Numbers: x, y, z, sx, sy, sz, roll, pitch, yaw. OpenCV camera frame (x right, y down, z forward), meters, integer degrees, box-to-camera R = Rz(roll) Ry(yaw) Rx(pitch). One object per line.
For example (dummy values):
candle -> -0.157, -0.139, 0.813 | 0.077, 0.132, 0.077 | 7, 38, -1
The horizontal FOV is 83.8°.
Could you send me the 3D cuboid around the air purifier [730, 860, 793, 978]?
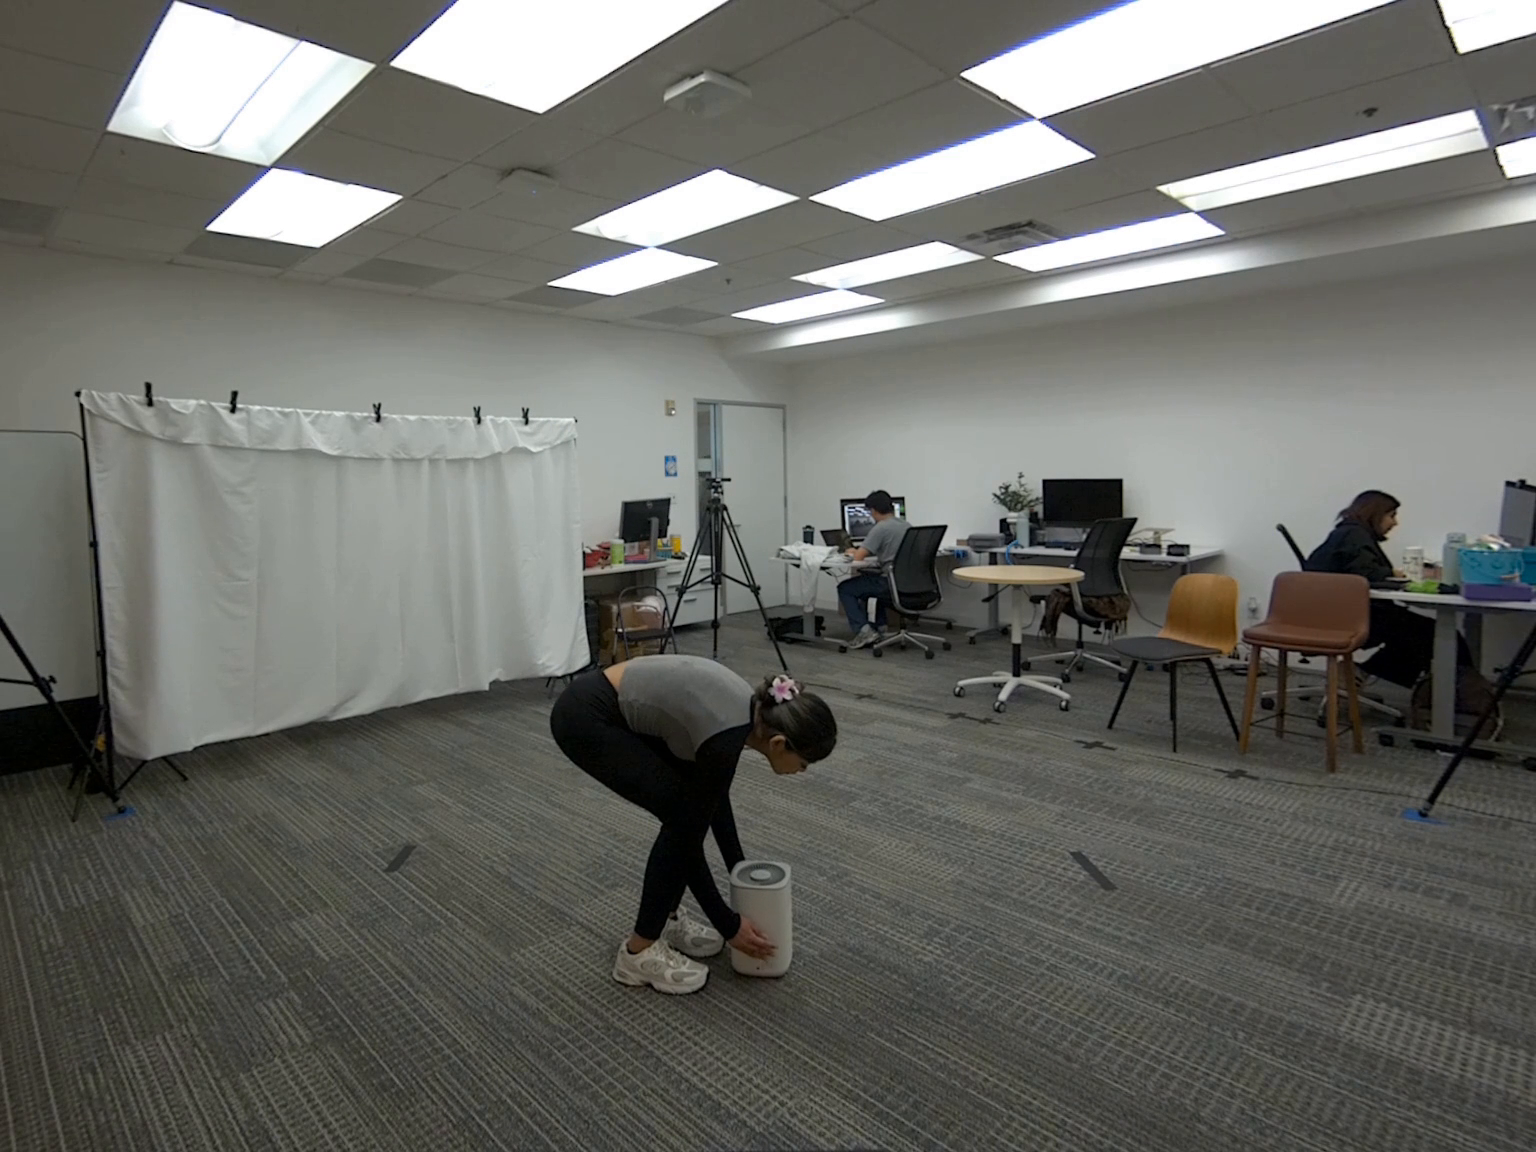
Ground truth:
air purifier -> -0.017, 0.983, 2.454 | 0.172, 0.264, 0.171 | 1, 5, 7
